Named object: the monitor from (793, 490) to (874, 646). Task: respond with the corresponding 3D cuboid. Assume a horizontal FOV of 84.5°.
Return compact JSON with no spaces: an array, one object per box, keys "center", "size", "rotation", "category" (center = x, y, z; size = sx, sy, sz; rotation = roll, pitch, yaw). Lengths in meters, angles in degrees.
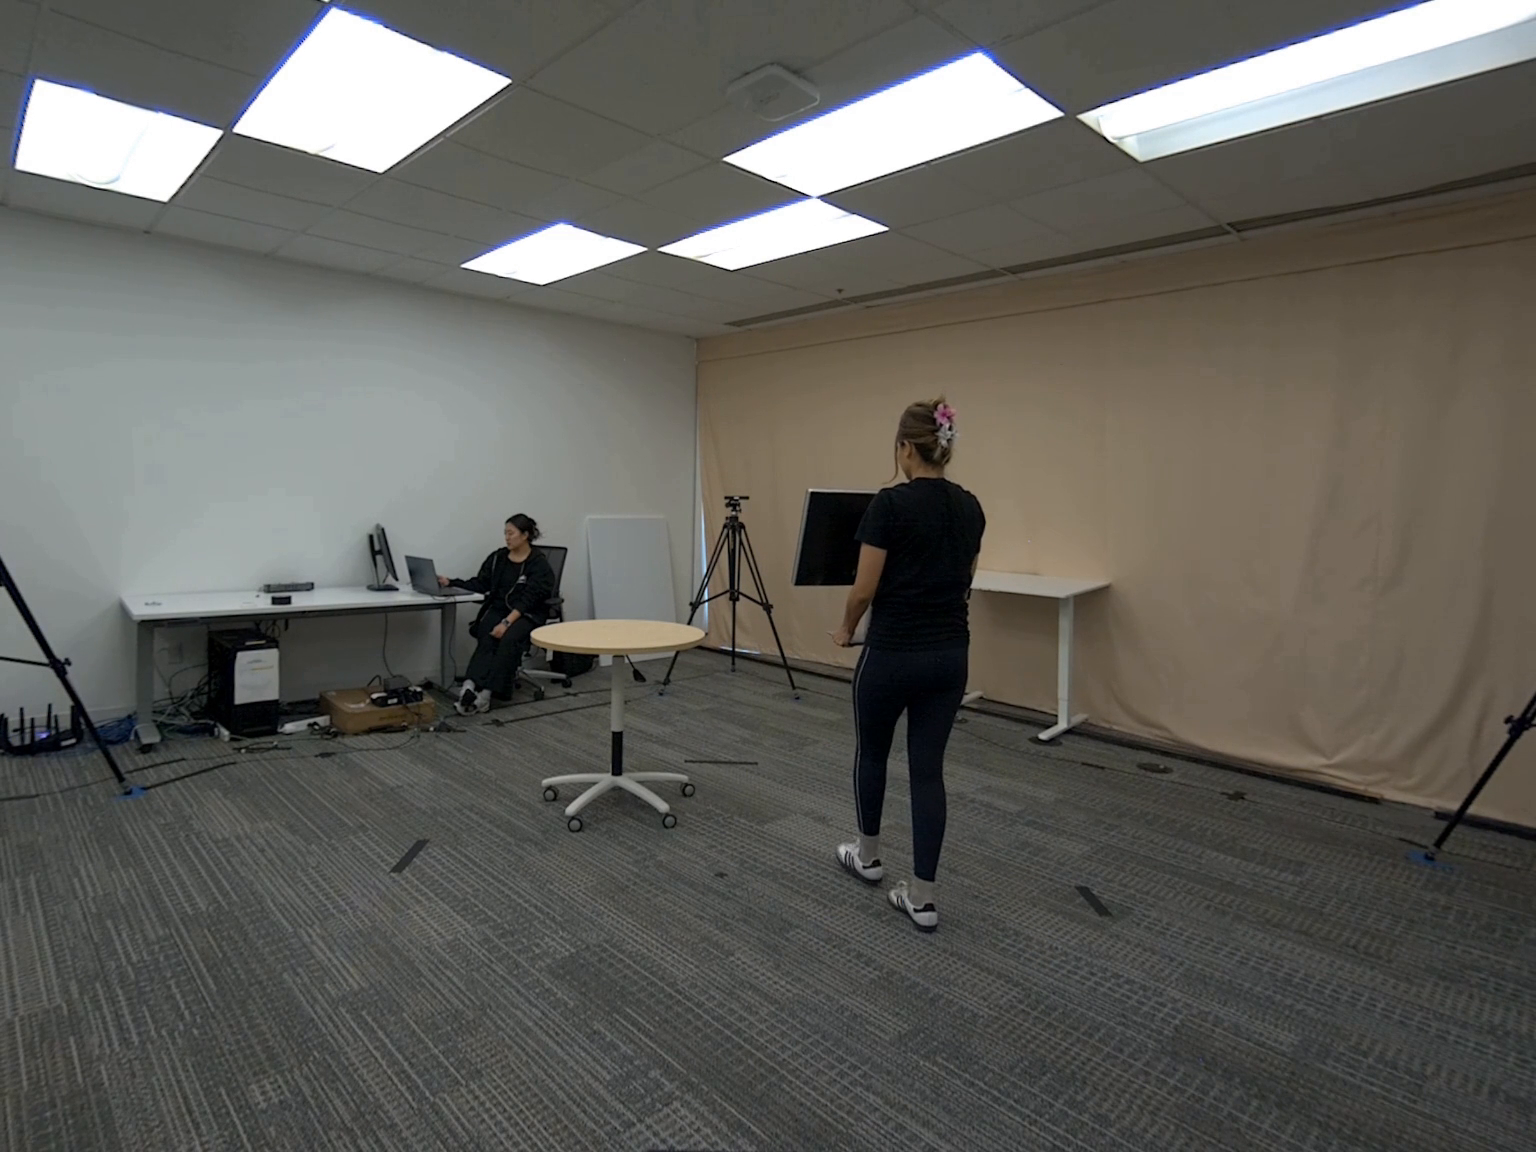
[{"center":[0.377,-0.037,3.047],"size":[0.530,0.520,0.191],"rotation":[1,8,-22],"category":"monitor"}]
